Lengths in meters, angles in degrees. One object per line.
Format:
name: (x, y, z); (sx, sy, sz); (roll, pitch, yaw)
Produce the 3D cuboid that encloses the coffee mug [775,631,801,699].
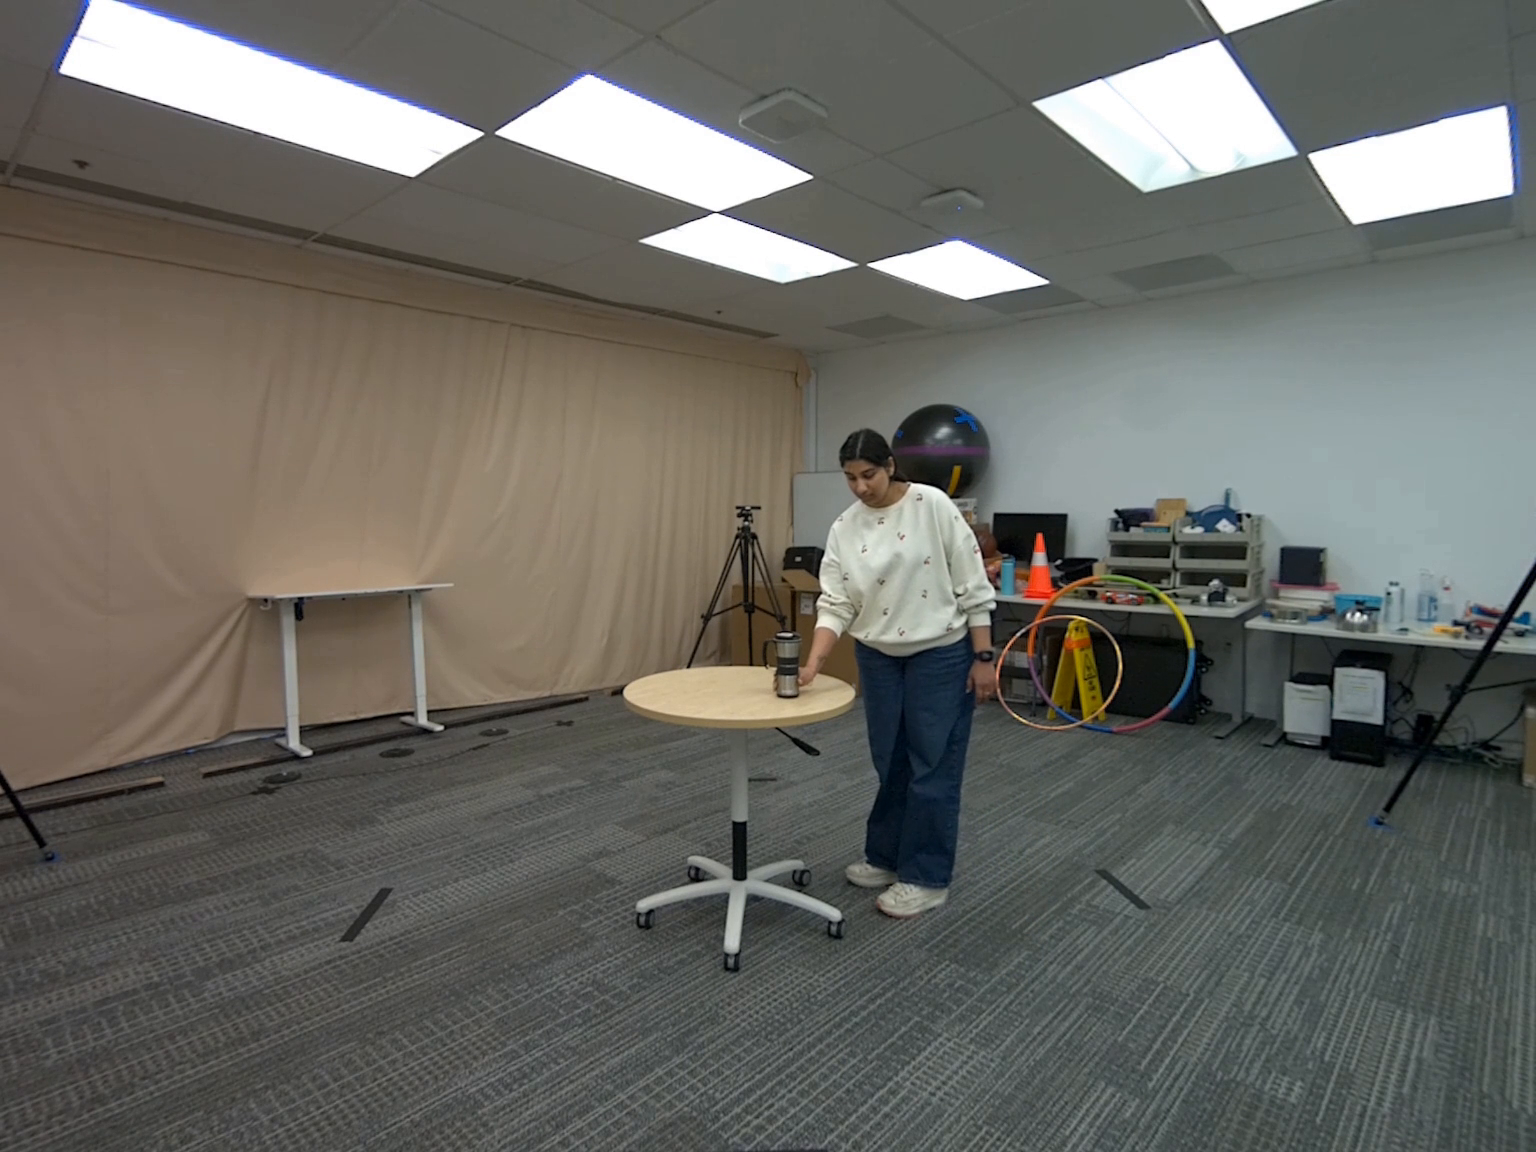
coffee mug: (0.045, 0.286, 2.701); (0.126, 0.202, 0.085); (6, 8, 31)
